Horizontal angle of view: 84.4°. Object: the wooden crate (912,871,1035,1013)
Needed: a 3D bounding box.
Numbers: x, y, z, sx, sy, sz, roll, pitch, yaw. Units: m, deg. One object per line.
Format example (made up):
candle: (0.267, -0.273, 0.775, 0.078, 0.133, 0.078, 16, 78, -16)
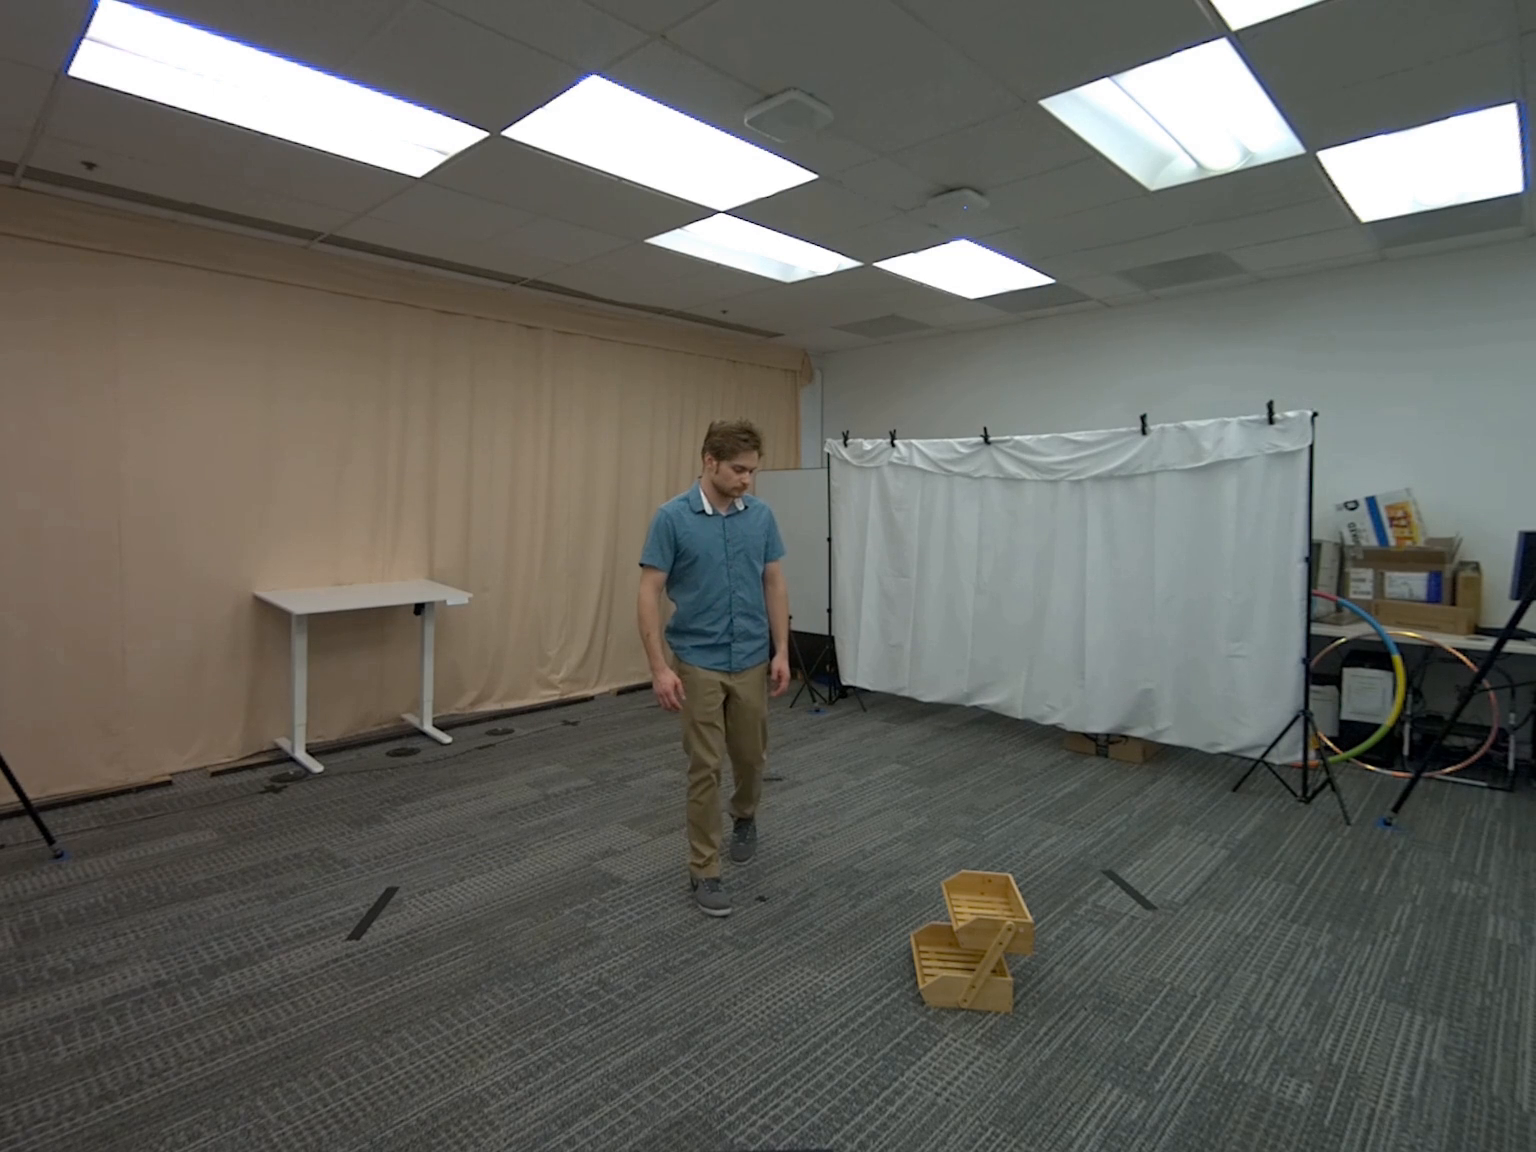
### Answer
wooden crate: (0.586, 1.051, 2.462, 0.304, 0.272, 0.323, 1, 4, 6)
